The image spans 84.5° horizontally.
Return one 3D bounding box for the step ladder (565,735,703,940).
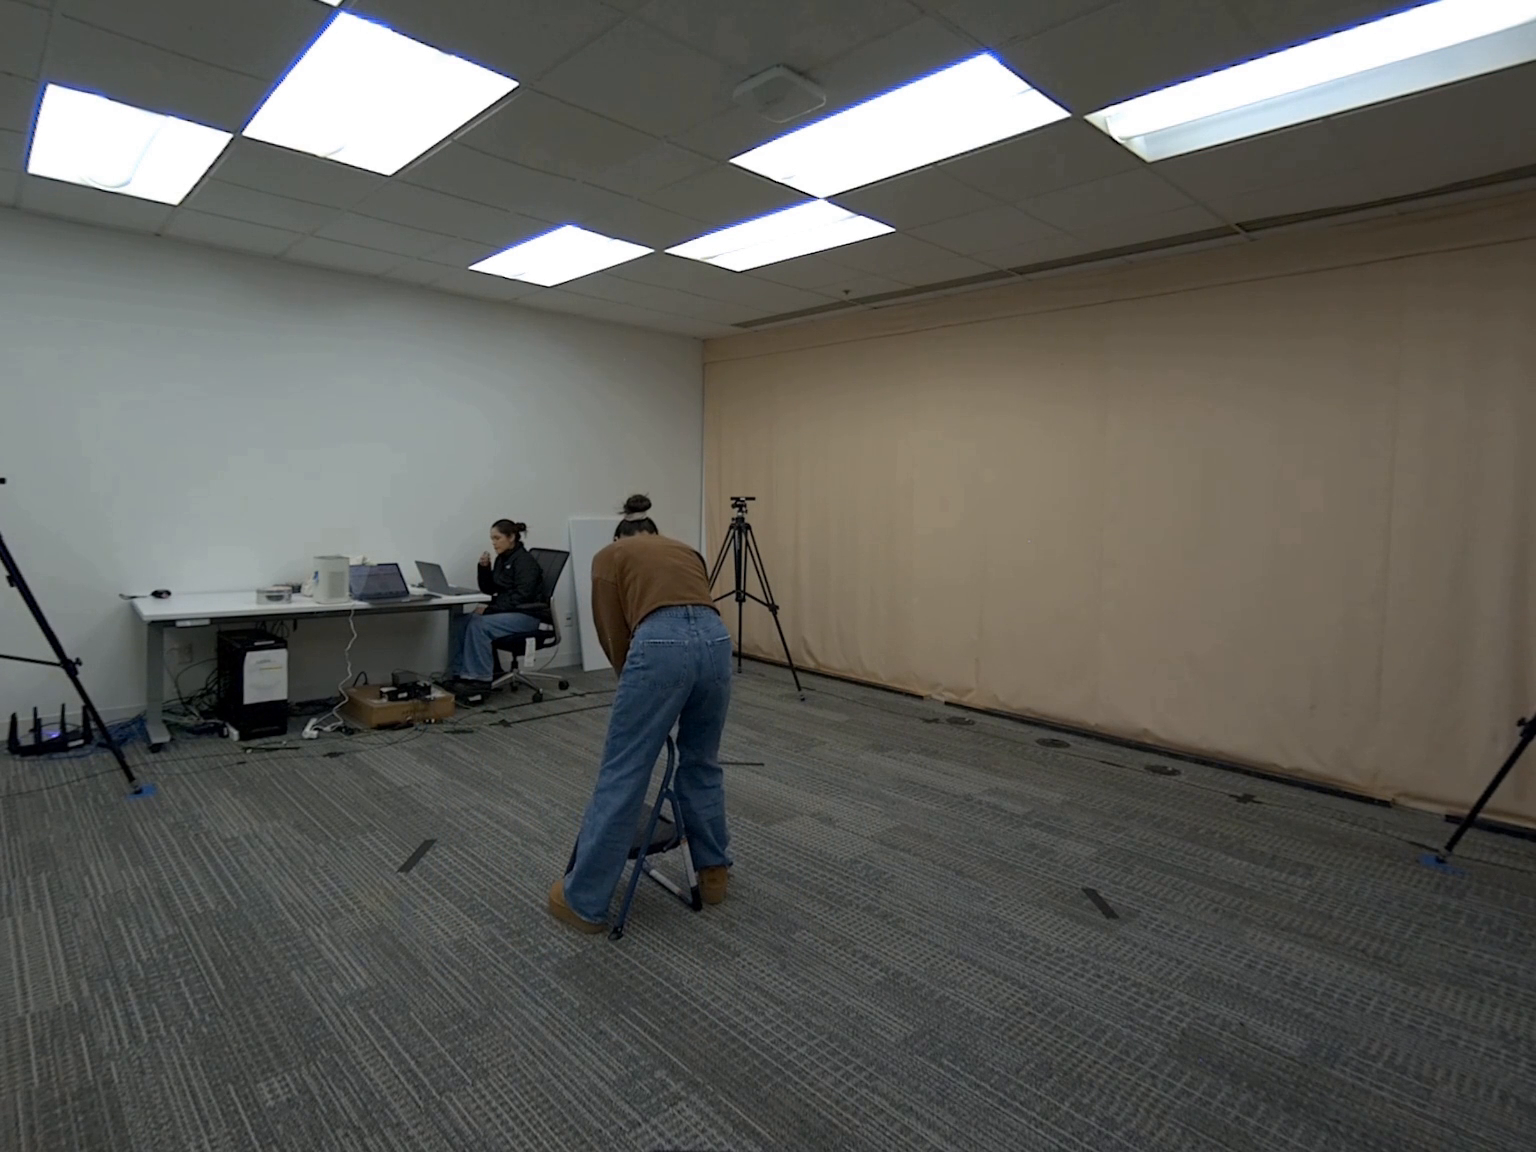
[{"bbox_3d":[-0.479,0.821,2.890,0.341,0.604,0.441,-1,5,-37],"label":"step ladder"}]
